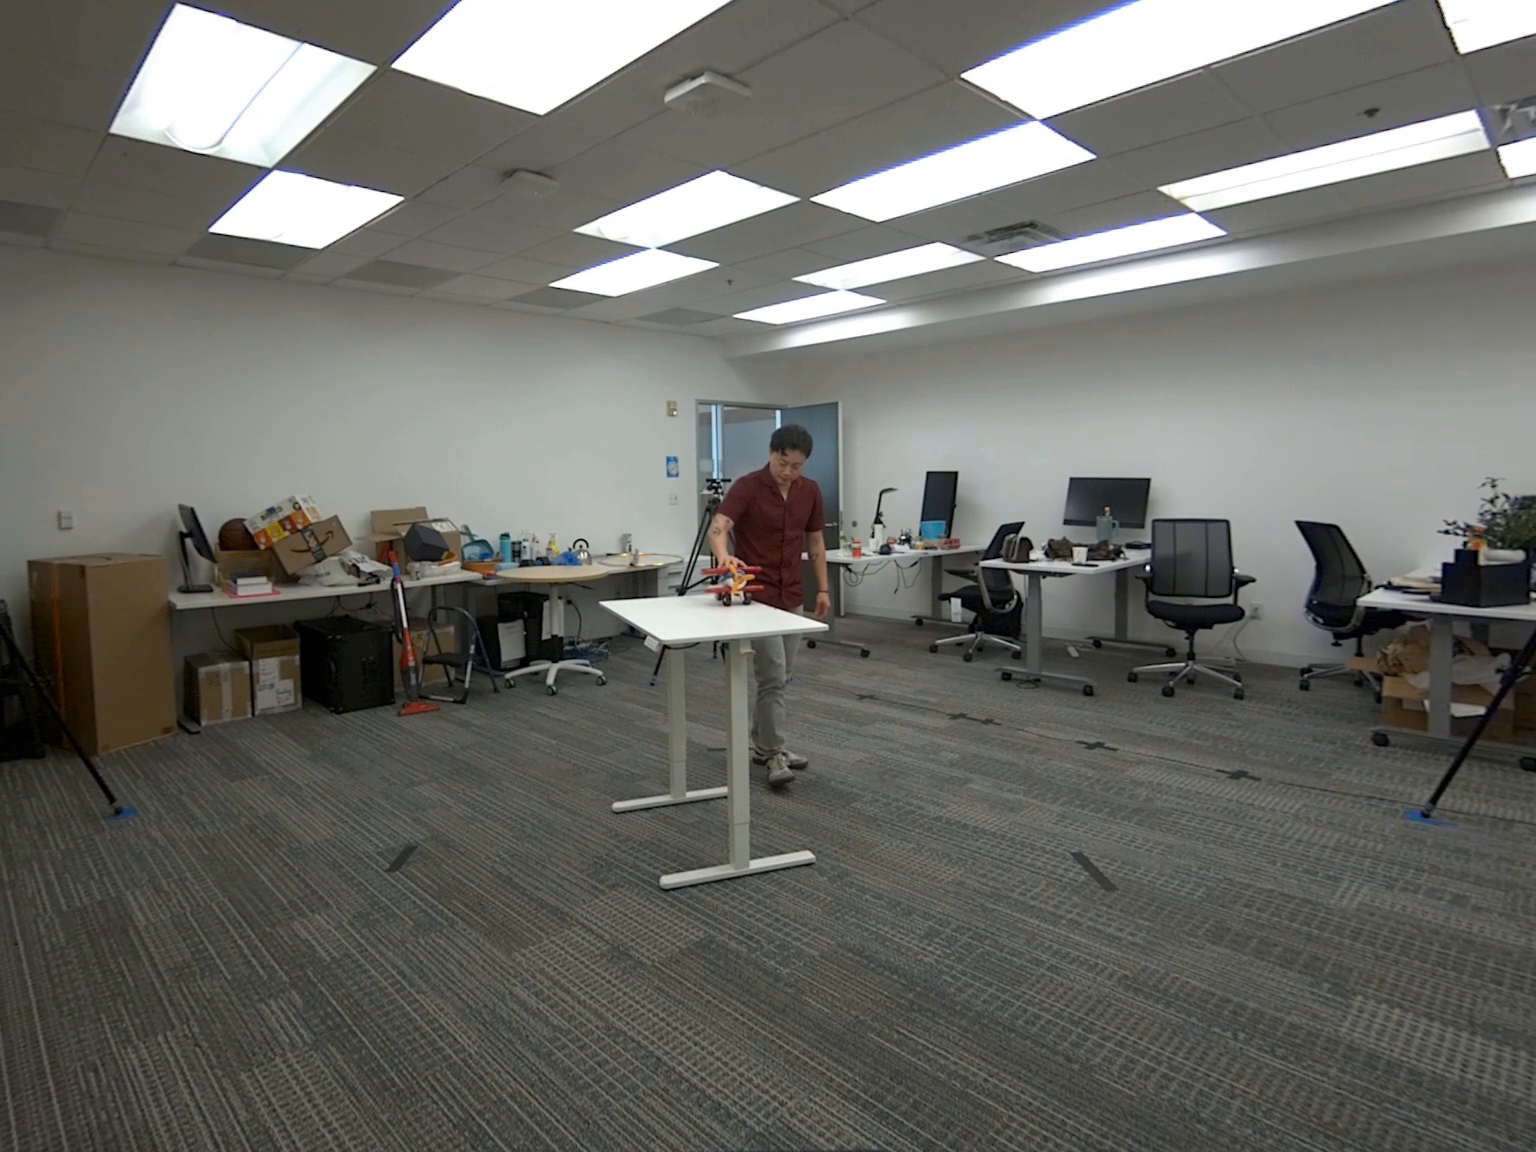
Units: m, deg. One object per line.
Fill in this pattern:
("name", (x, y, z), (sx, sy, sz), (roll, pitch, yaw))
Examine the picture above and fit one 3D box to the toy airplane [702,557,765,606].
("toy airplane", (-0.172, 0.039, 3.567), (0.267, 0.156, 0.244), (6, 7, 44))
